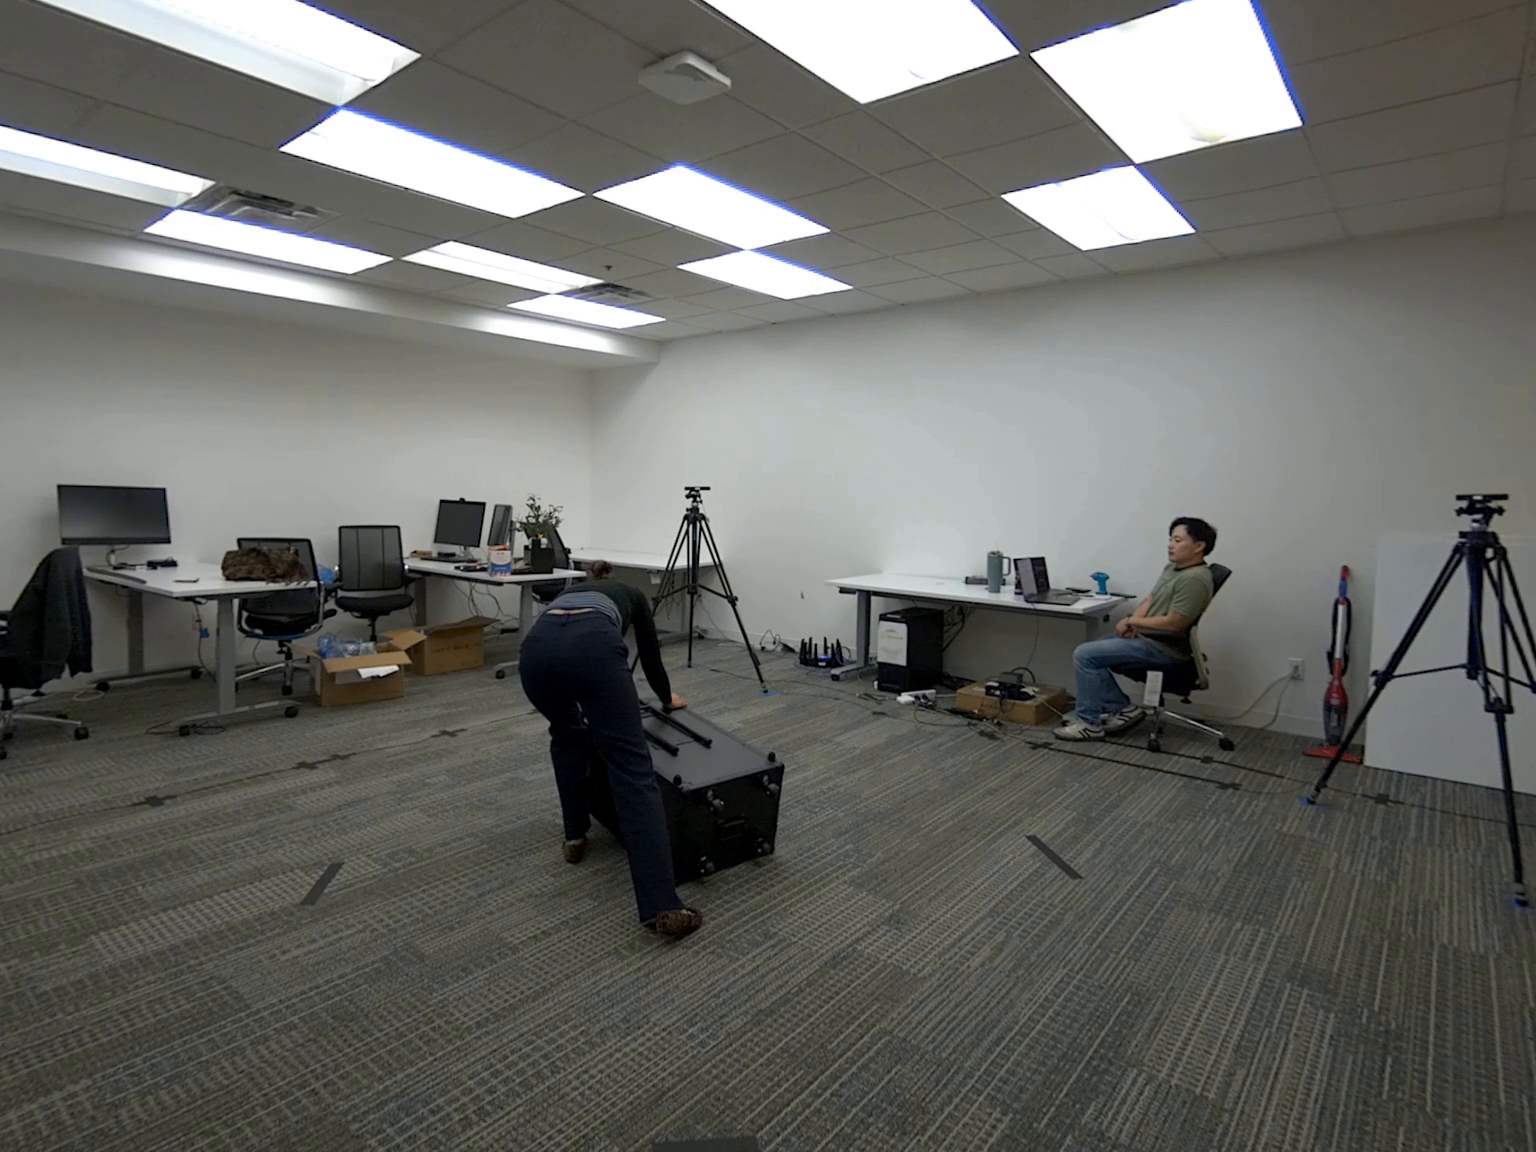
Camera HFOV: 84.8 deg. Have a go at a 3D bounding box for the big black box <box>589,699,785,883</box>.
[{"bbox_3d":[-0.414,0.808,3.388,0.506,0.393,0.895,-4,14,-40],"label":"big black box"}]
